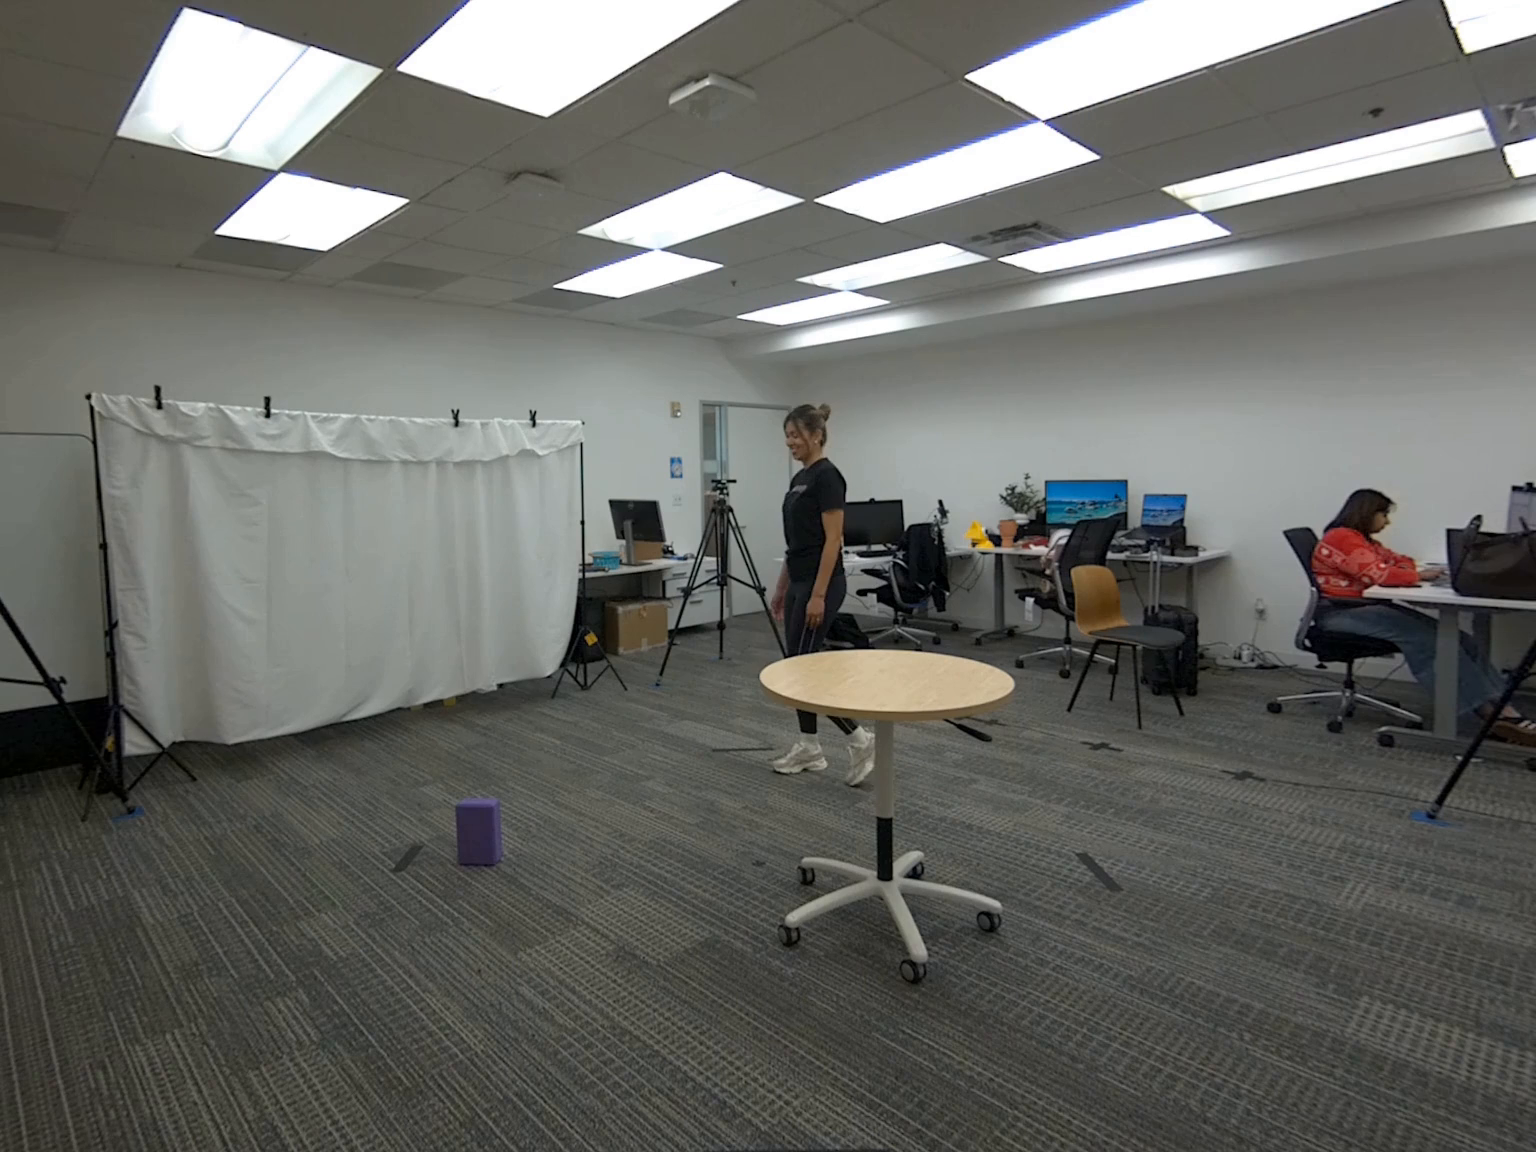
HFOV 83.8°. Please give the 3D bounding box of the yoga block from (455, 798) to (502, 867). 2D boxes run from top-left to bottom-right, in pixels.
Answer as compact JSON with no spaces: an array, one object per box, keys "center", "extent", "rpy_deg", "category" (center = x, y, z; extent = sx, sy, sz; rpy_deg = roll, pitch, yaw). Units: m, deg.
[{"center":[-1.078,0.953,3.168],"extent":[0.150,0.228,0.076],"rpy_deg":[-4,4,7],"category":"yoga block"}]
